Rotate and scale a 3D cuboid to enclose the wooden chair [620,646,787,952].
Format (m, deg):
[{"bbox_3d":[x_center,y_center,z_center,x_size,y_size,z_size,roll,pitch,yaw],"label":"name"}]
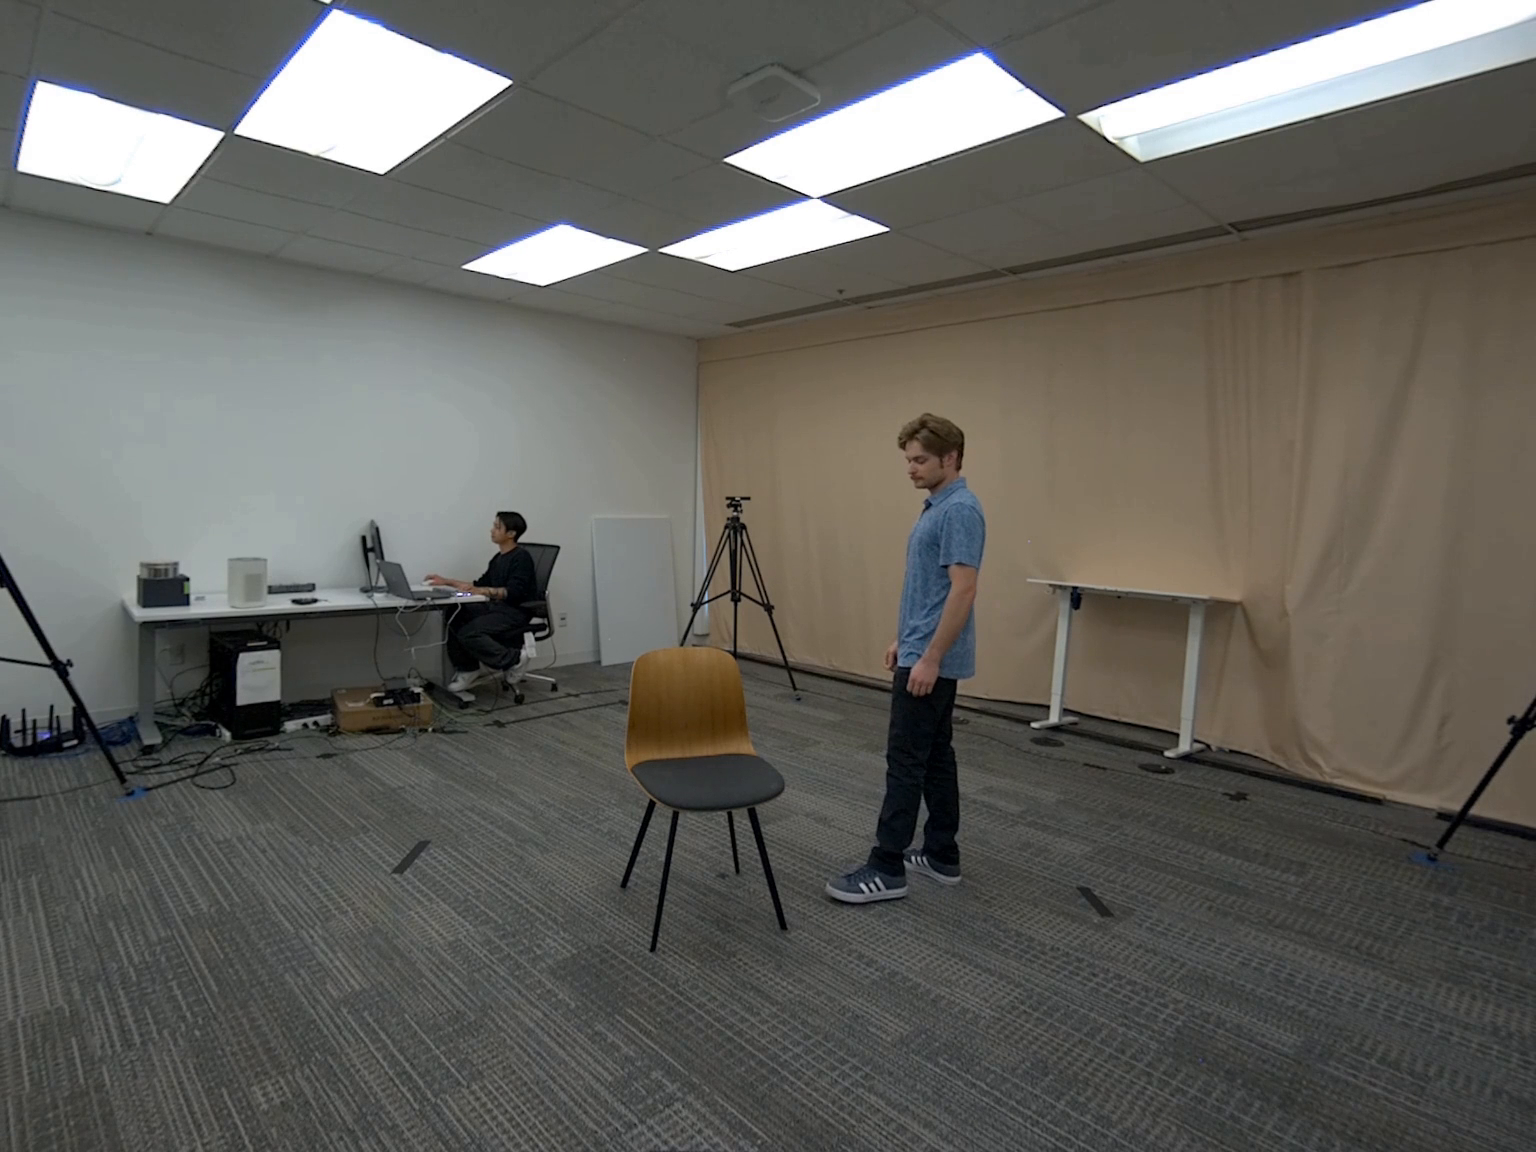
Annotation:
[{"bbox_3d":[-0.222,0.706,2.813,0.471,0.878,0.531,0,-1,-21],"label":"wooden chair"}]
